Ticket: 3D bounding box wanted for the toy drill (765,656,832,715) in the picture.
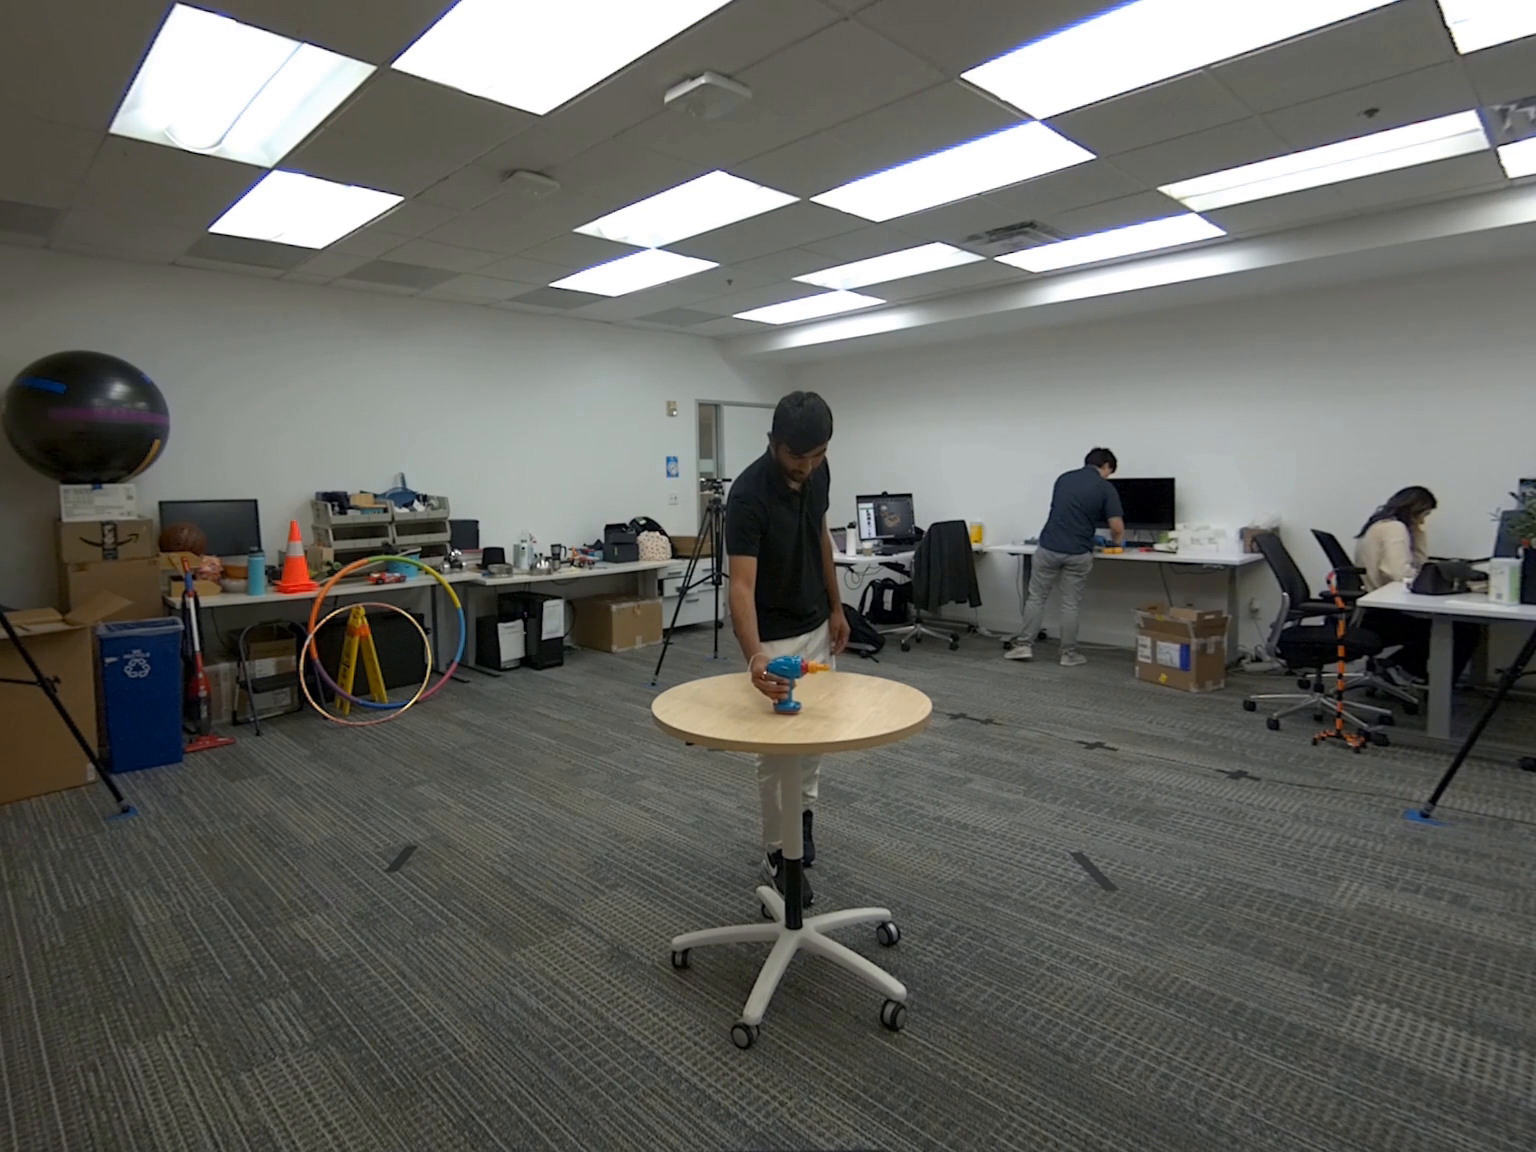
[{"bbox_3d":[0.085,0.278,2.218,0.172,0.145,0.060,-4,4,18],"label":"toy drill"}]
